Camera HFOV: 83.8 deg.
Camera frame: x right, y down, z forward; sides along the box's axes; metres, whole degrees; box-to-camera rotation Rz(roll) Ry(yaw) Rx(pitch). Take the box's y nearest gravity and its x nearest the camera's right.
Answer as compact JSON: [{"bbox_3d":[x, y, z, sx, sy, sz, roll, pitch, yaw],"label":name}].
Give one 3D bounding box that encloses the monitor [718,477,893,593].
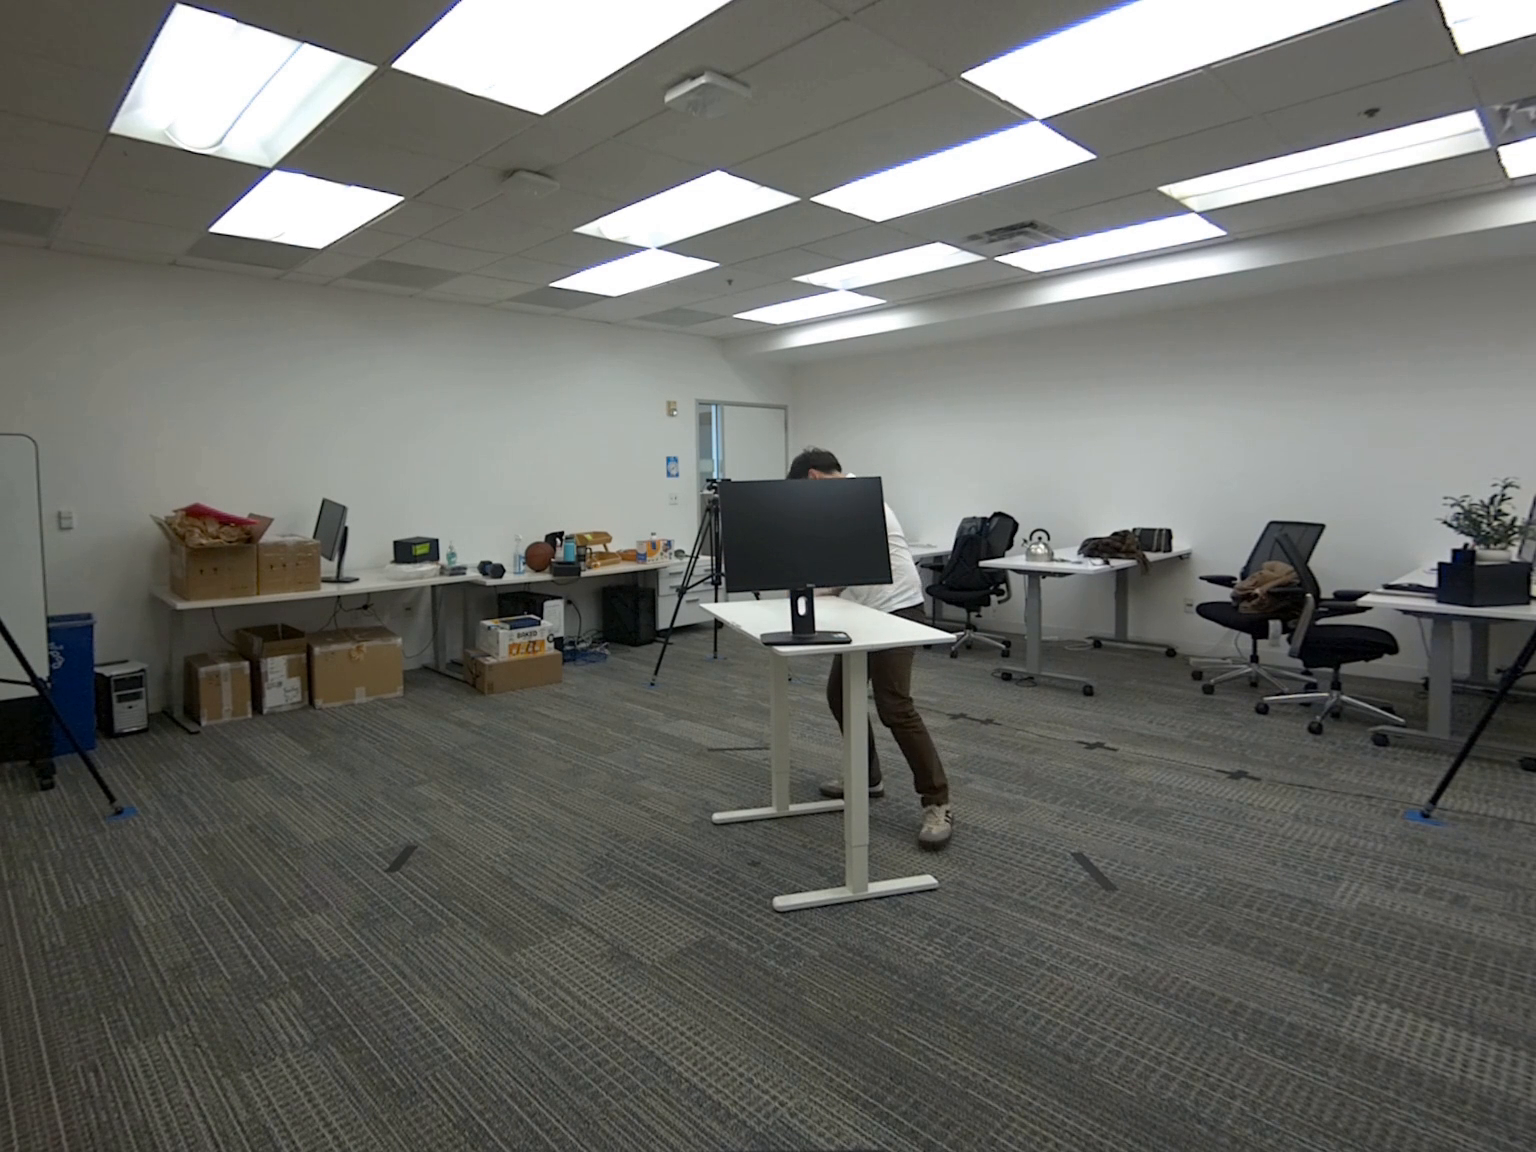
[{"bbox_3d":[0.114,-0.046,2.722,0.533,0.521,0.190,-2,3,-12],"label":"monitor"}]
